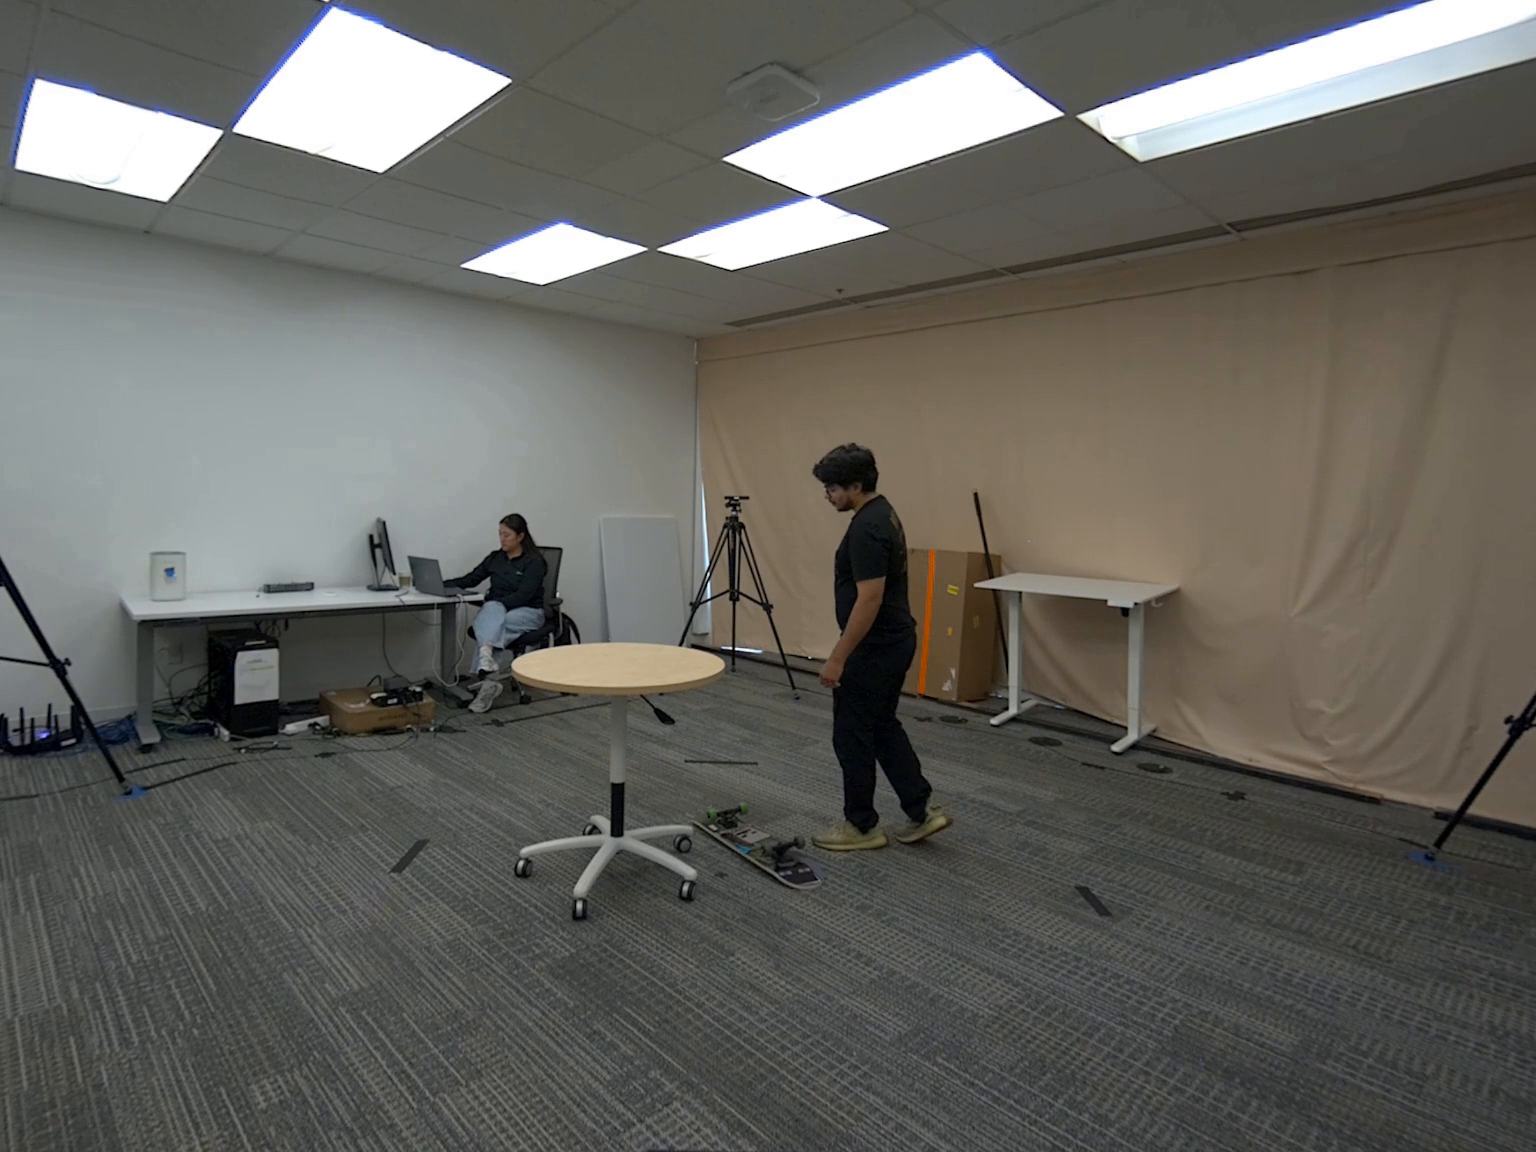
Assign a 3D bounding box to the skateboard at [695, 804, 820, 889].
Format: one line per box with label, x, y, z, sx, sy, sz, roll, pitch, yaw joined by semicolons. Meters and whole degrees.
skateboard;-0.063;1.033;3.347;0.189;0.110;0.804;-1;6;-33
